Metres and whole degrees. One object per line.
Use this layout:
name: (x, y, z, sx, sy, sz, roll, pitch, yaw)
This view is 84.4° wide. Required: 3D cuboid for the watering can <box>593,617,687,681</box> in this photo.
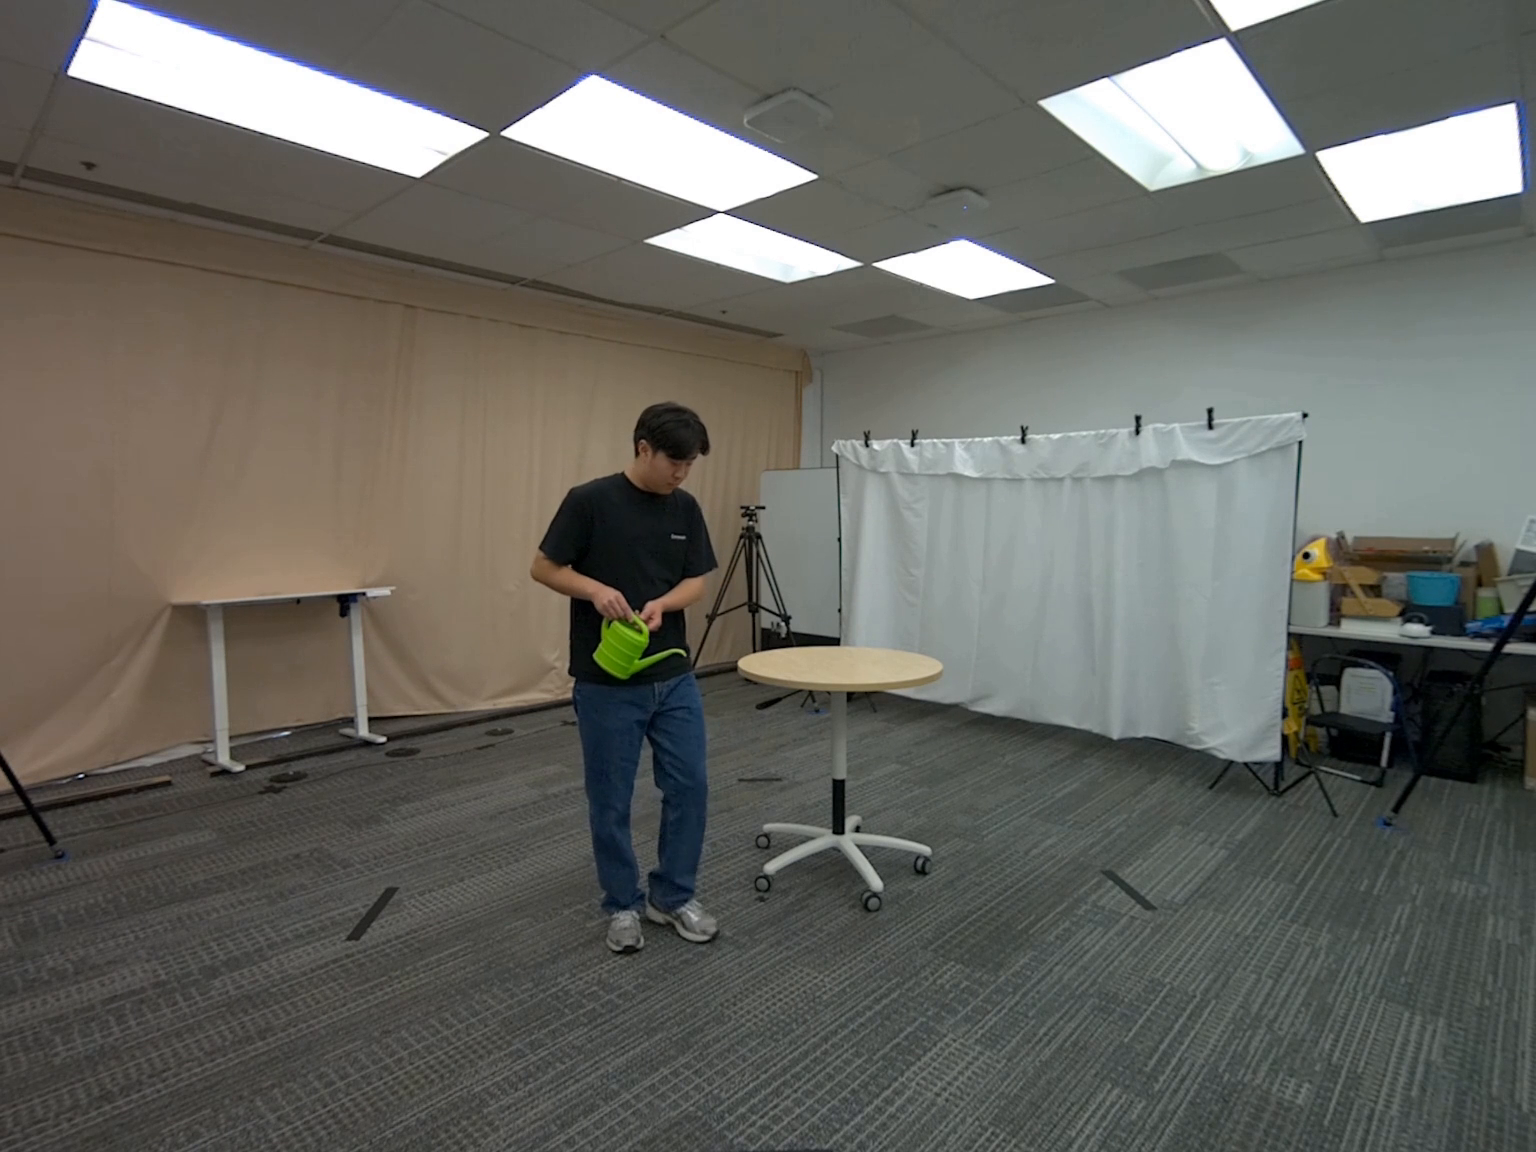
watering can: (-0.387, 0.220, 2.452, 0.288, 0.177, 0.094, 37, 11, 38)
